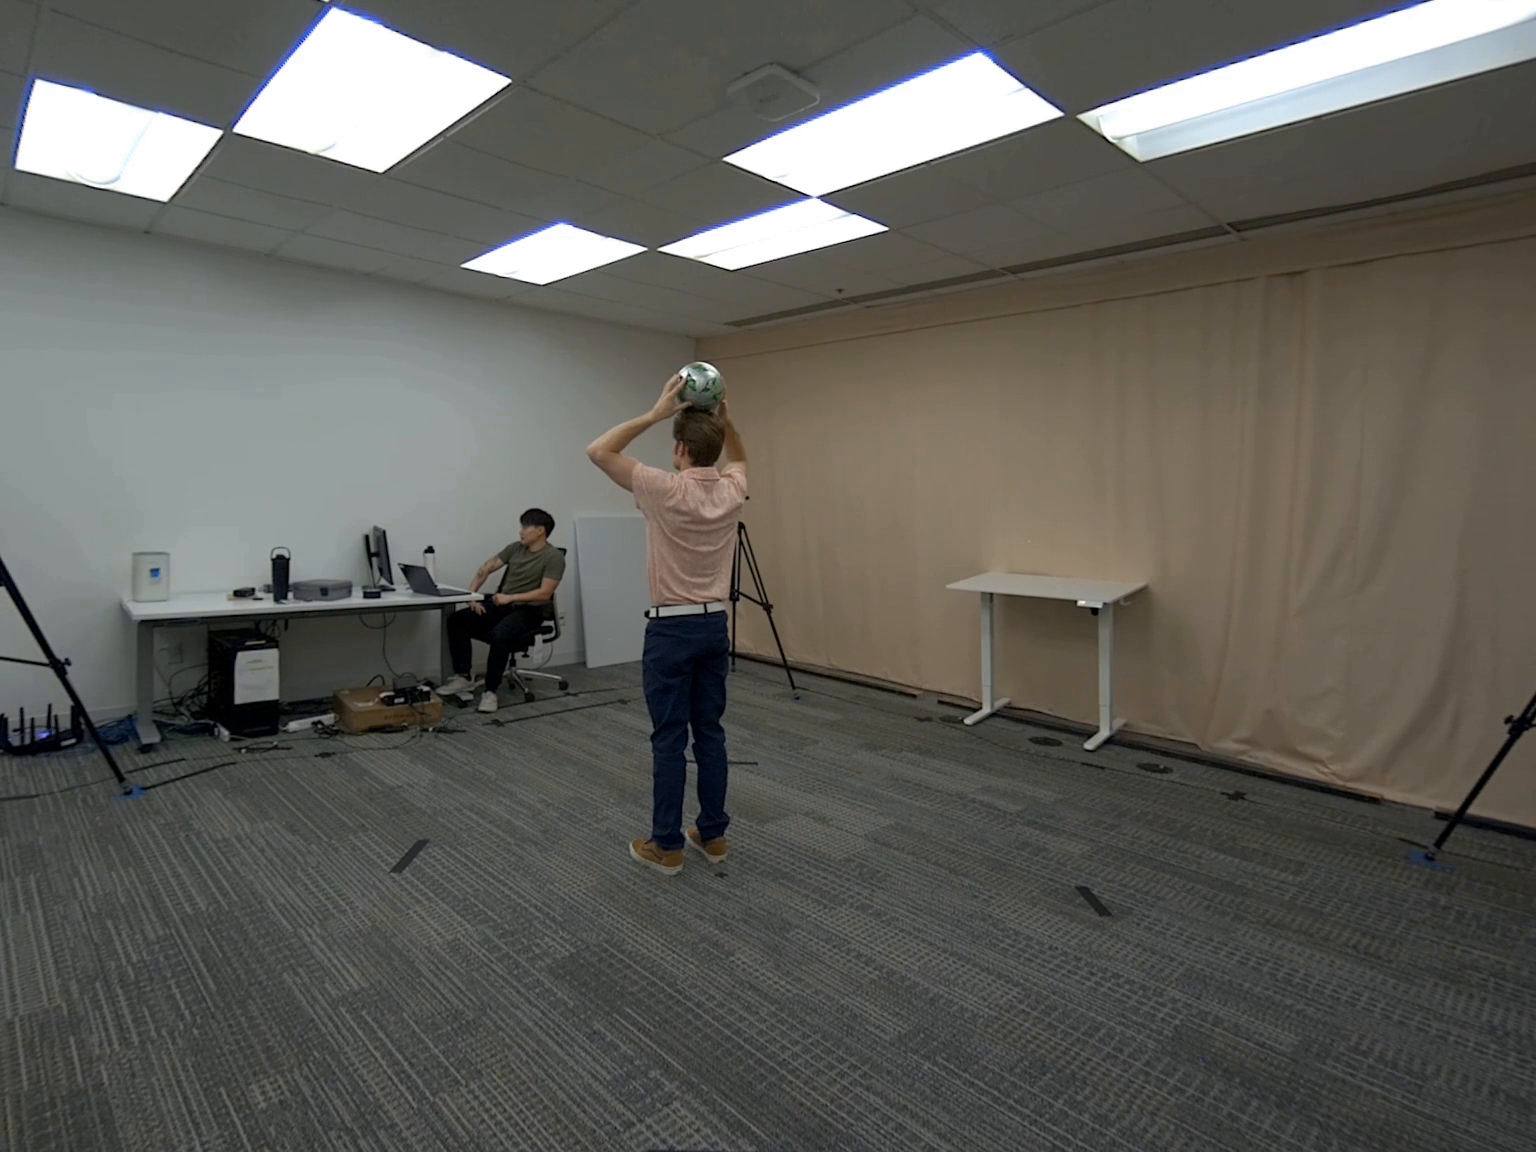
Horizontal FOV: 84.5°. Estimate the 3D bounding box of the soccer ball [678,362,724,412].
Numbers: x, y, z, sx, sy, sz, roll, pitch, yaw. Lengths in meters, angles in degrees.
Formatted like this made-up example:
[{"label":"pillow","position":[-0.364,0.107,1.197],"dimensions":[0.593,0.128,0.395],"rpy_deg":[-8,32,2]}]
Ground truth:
[{"label":"soccer ball","position":[-0.263,-0.693,3.130],"dimensions":[0.187,0.187,0.188],"rpy_deg":[1,4,-1]}]
